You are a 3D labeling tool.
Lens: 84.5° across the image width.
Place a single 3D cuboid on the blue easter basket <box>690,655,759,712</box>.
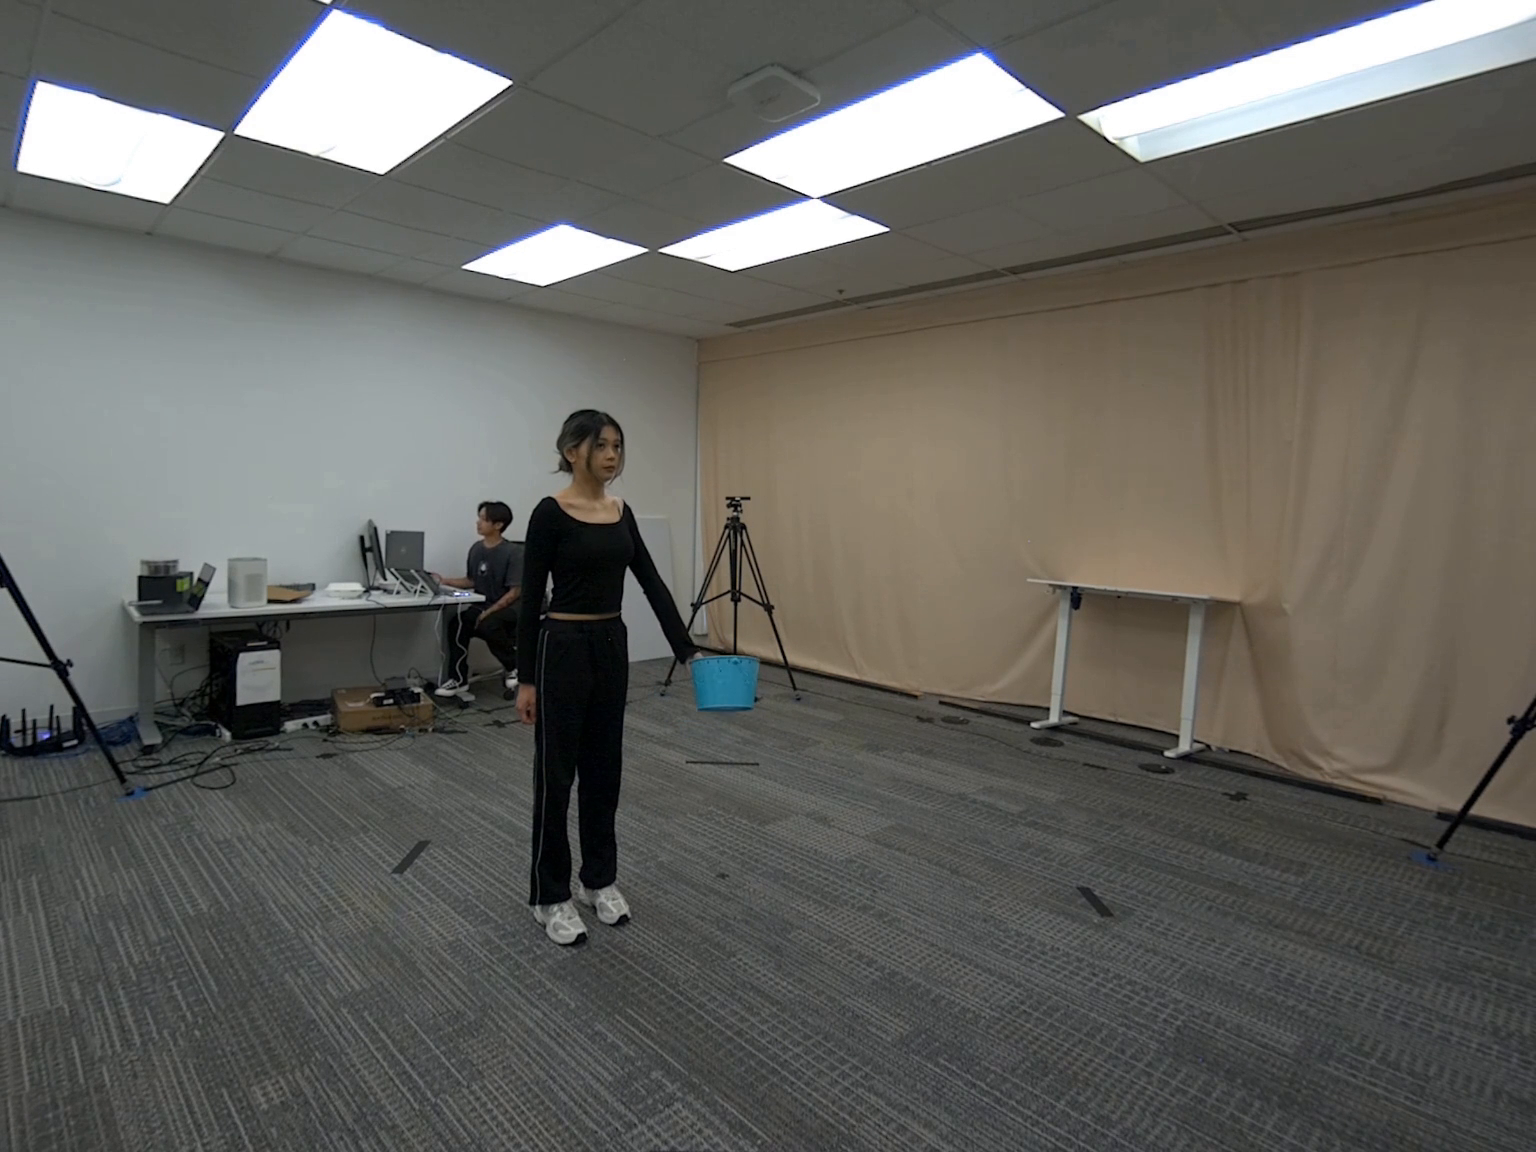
[{"bbox_3d":[-0.144,0.348,2.701,0.243,0.157,0.241,-1,-13,-2],"label":"blue easter basket"}]
